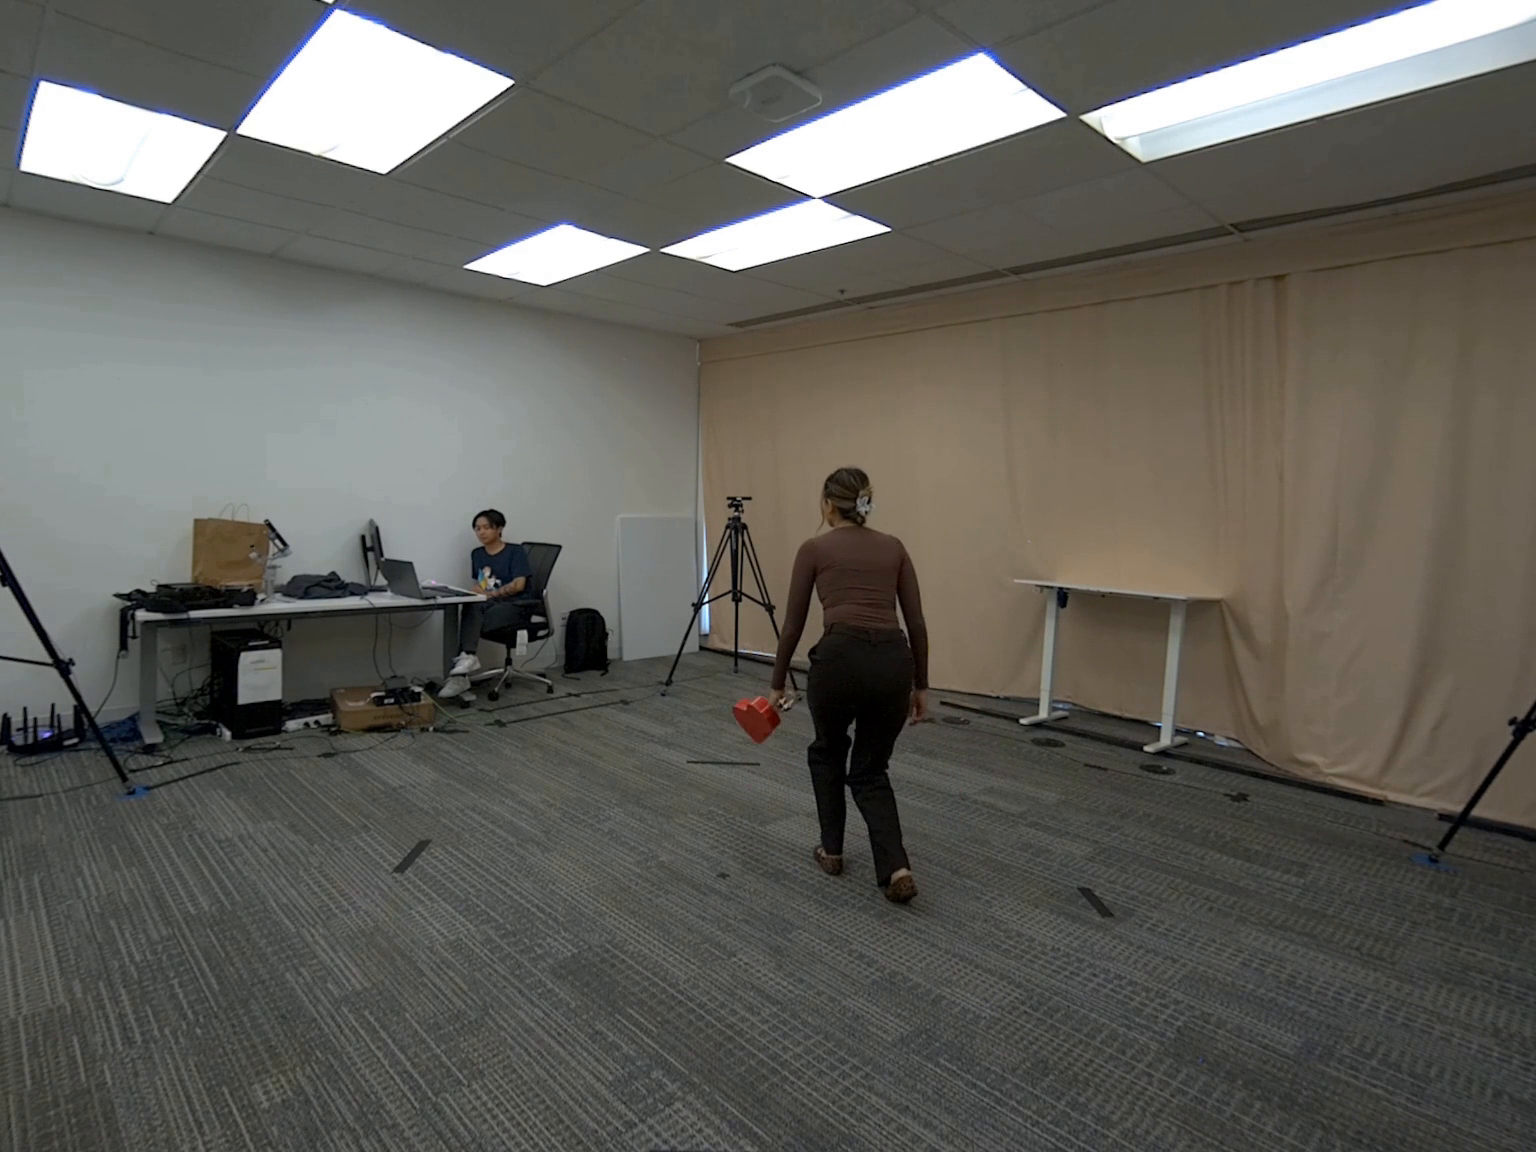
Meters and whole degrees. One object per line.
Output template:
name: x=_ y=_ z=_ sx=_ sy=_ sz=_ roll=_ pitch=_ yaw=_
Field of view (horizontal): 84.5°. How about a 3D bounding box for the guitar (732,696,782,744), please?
guitar: x=-0.024 y=0.535 z=3.410 sx=0.070 sy=0.196 sz=0.493 roll=-33 pitch=-16 yaw=-27
